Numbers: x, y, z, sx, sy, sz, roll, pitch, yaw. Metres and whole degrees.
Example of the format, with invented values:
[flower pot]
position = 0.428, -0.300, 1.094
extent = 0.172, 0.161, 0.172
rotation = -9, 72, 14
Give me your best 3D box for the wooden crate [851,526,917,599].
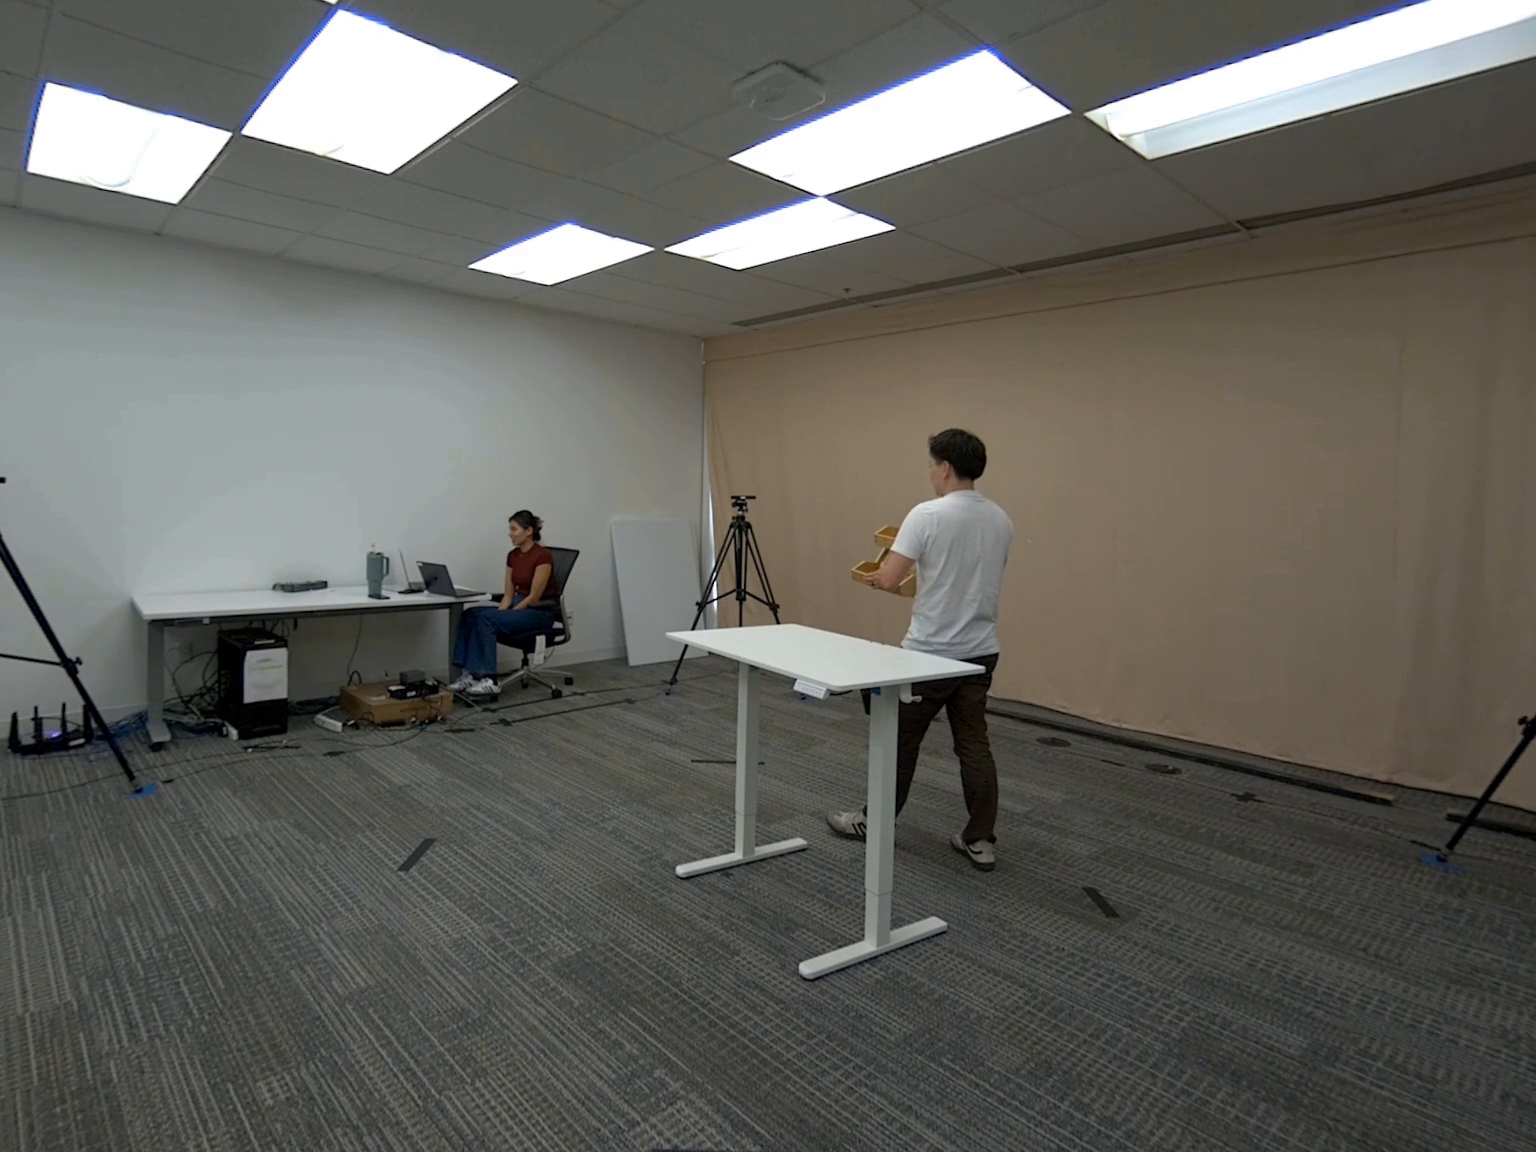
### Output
[wooden crate]
position = 0.582, -0.072, 3.634
extent = 0.294, 0.272, 0.334
rotation = 7, 8, -37
